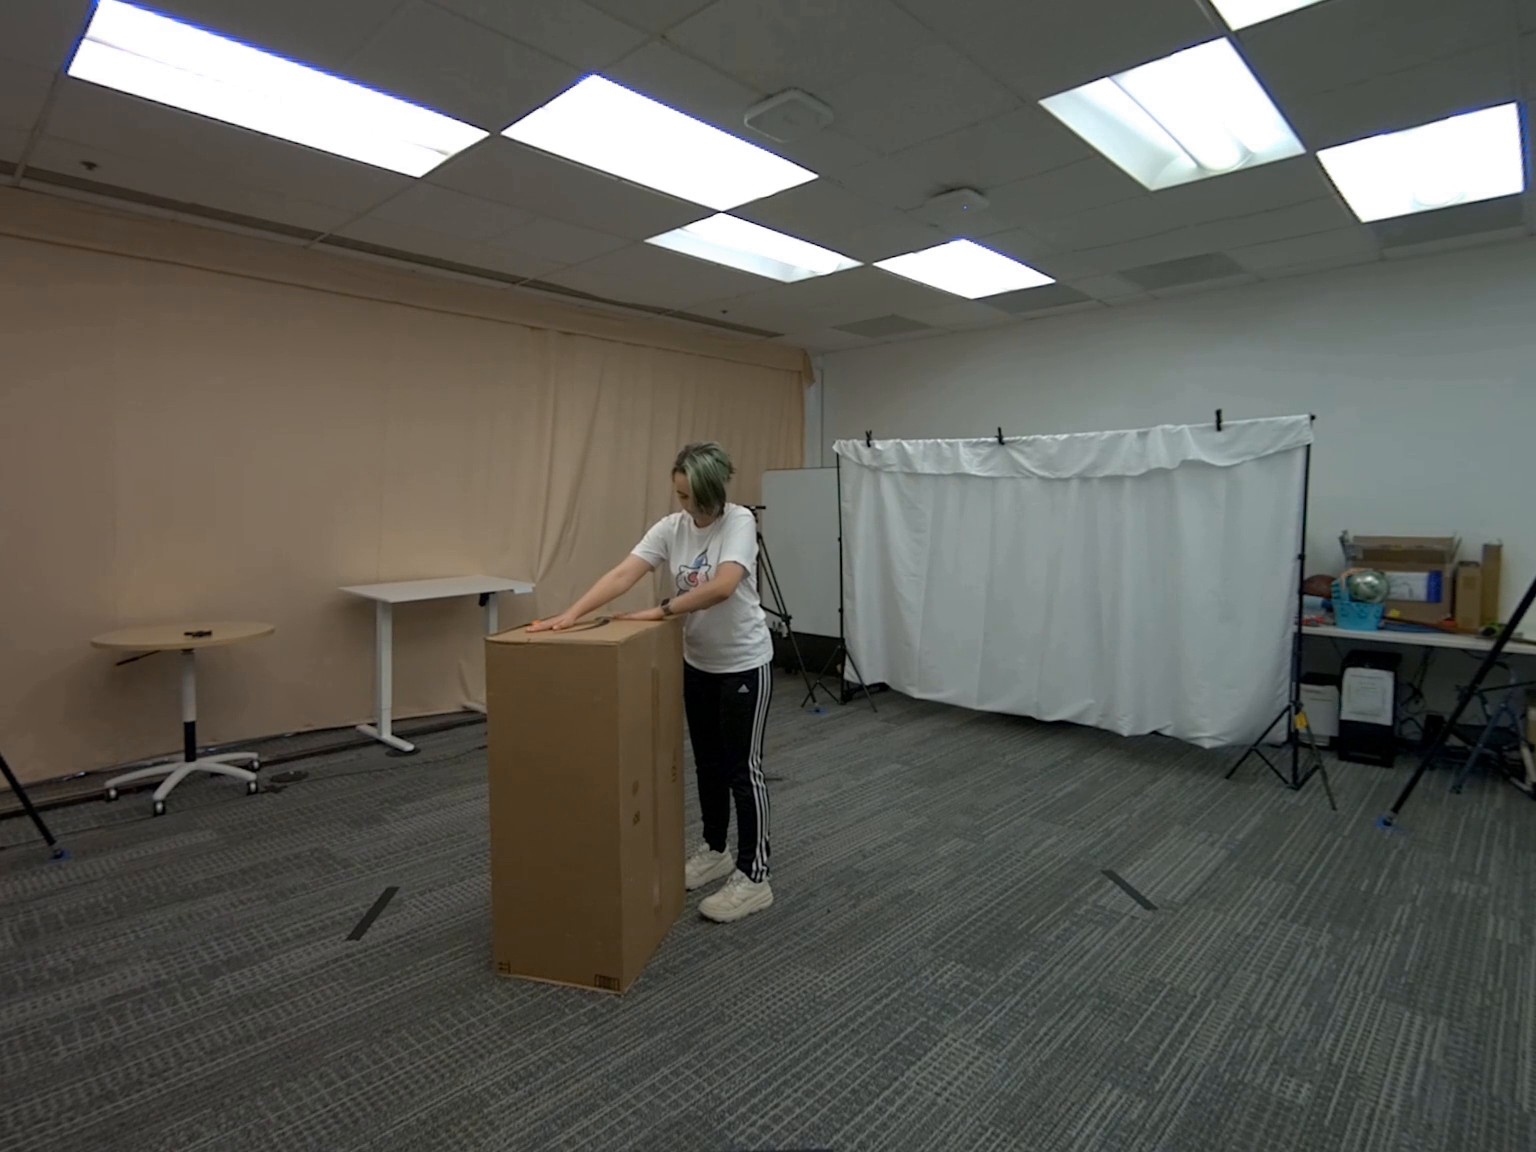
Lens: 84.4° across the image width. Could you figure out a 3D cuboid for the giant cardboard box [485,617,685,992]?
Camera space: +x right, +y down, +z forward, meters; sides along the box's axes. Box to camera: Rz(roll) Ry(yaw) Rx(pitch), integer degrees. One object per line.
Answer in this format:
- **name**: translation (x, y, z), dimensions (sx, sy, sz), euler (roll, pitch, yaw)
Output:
- **giant cardboard box**: translation (-0.563, 0.664, 2.694), dimensions (0.454, 1.025, 0.576), euler (1, 3, 14)
